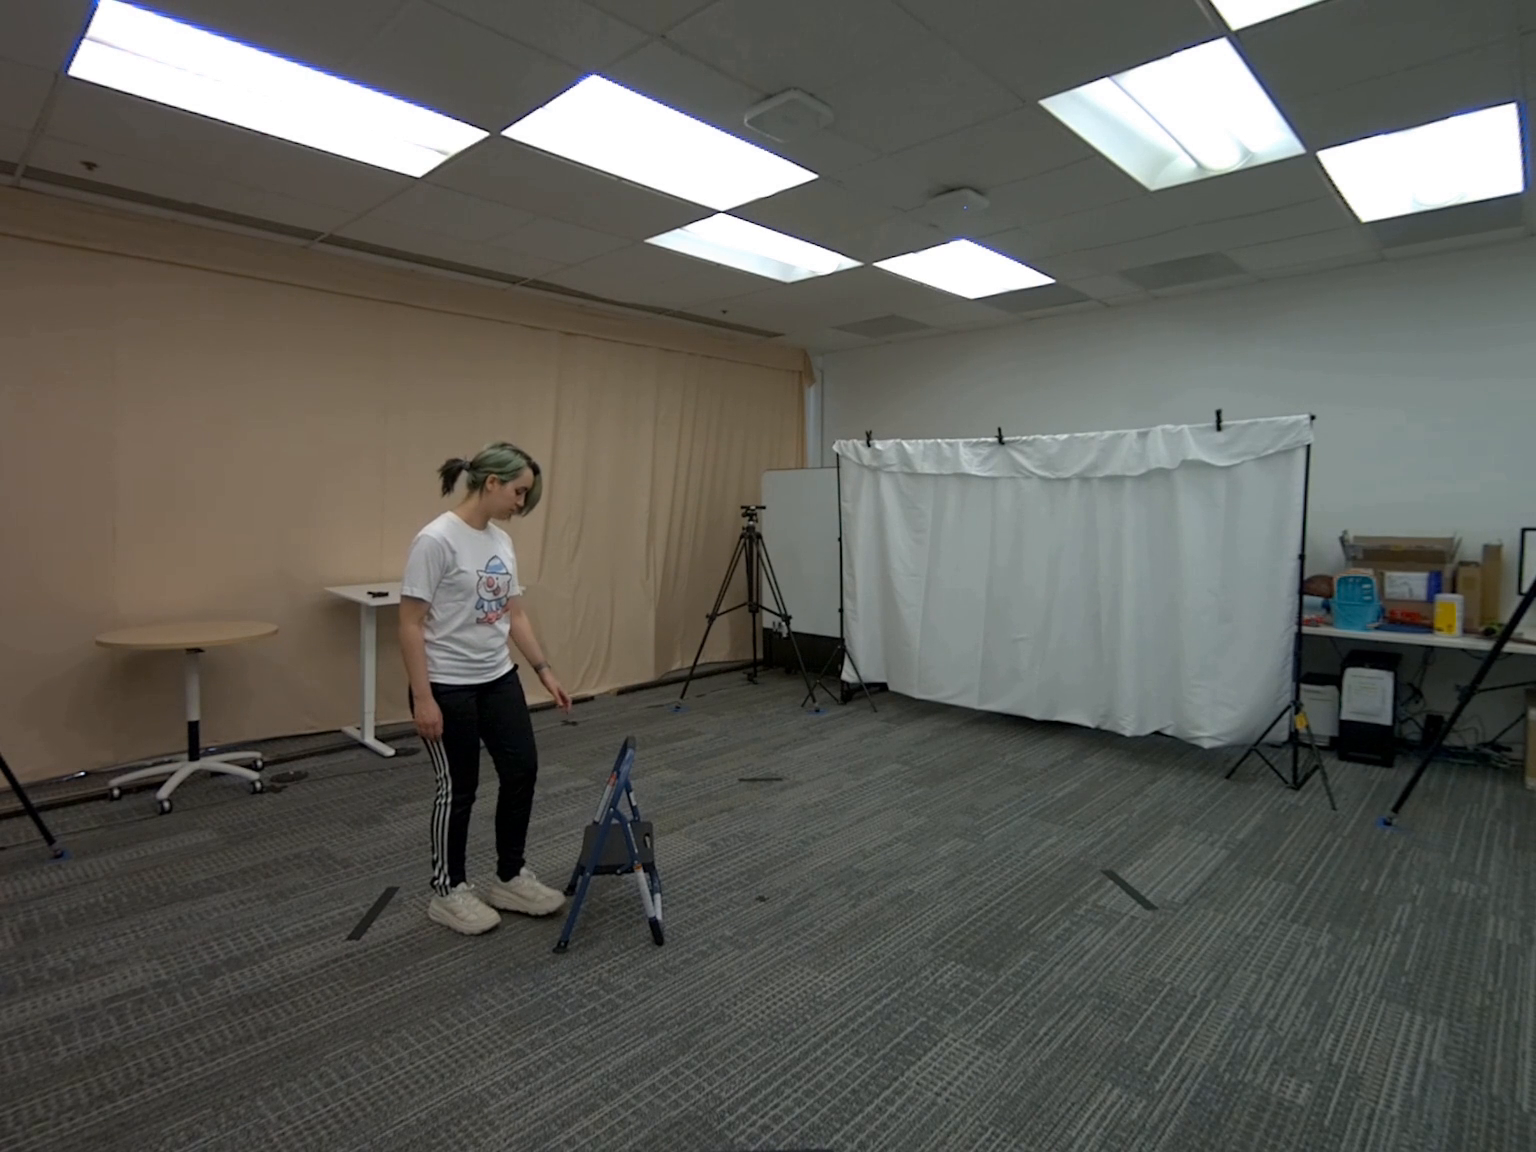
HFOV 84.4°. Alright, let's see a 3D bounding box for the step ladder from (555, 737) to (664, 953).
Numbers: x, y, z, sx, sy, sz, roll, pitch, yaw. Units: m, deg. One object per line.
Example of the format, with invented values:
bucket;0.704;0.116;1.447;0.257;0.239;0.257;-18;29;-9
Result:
step ladder;-0.533;0.860;2.838;0.347;0.605;0.435;-1;3;-8
